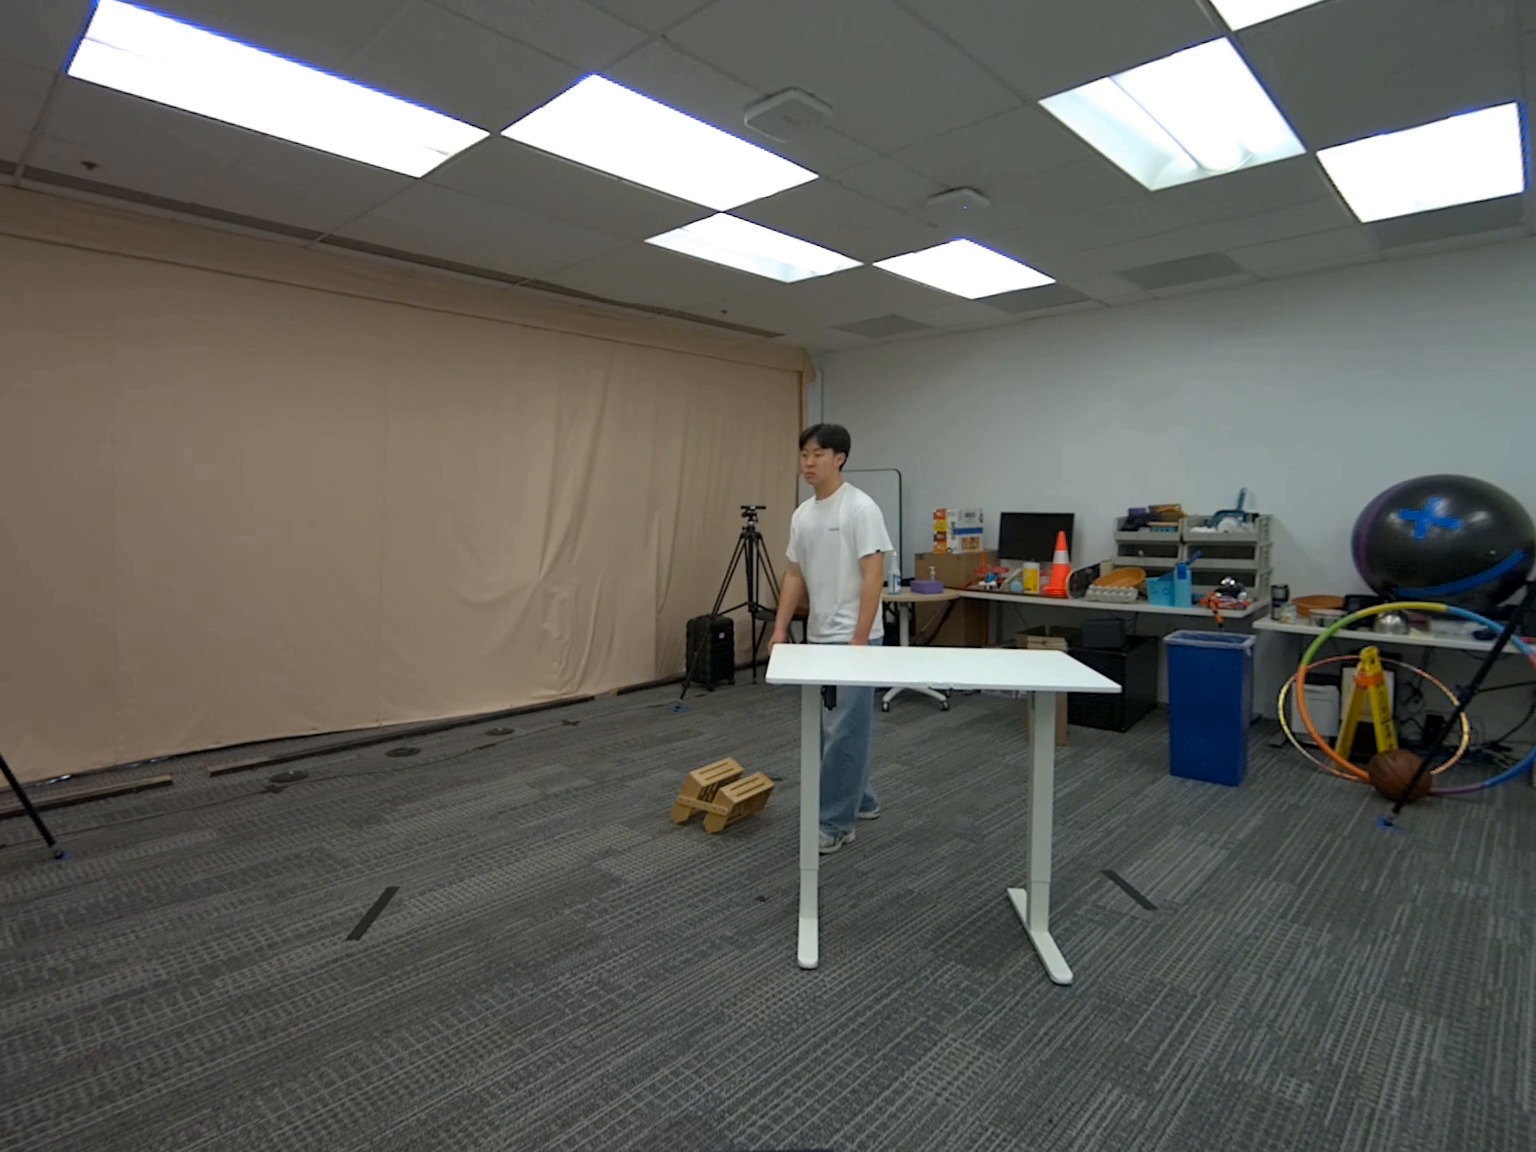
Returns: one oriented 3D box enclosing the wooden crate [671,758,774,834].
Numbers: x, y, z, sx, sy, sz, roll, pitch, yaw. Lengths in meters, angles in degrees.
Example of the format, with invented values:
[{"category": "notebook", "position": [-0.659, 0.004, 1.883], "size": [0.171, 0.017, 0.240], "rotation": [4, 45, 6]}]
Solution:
[{"category": "wooden crate", "position": [-0.199, 0.999, 3.728], "size": [0.282, 0.301, 0.315], "rotation": [35, 23, 30]}]
